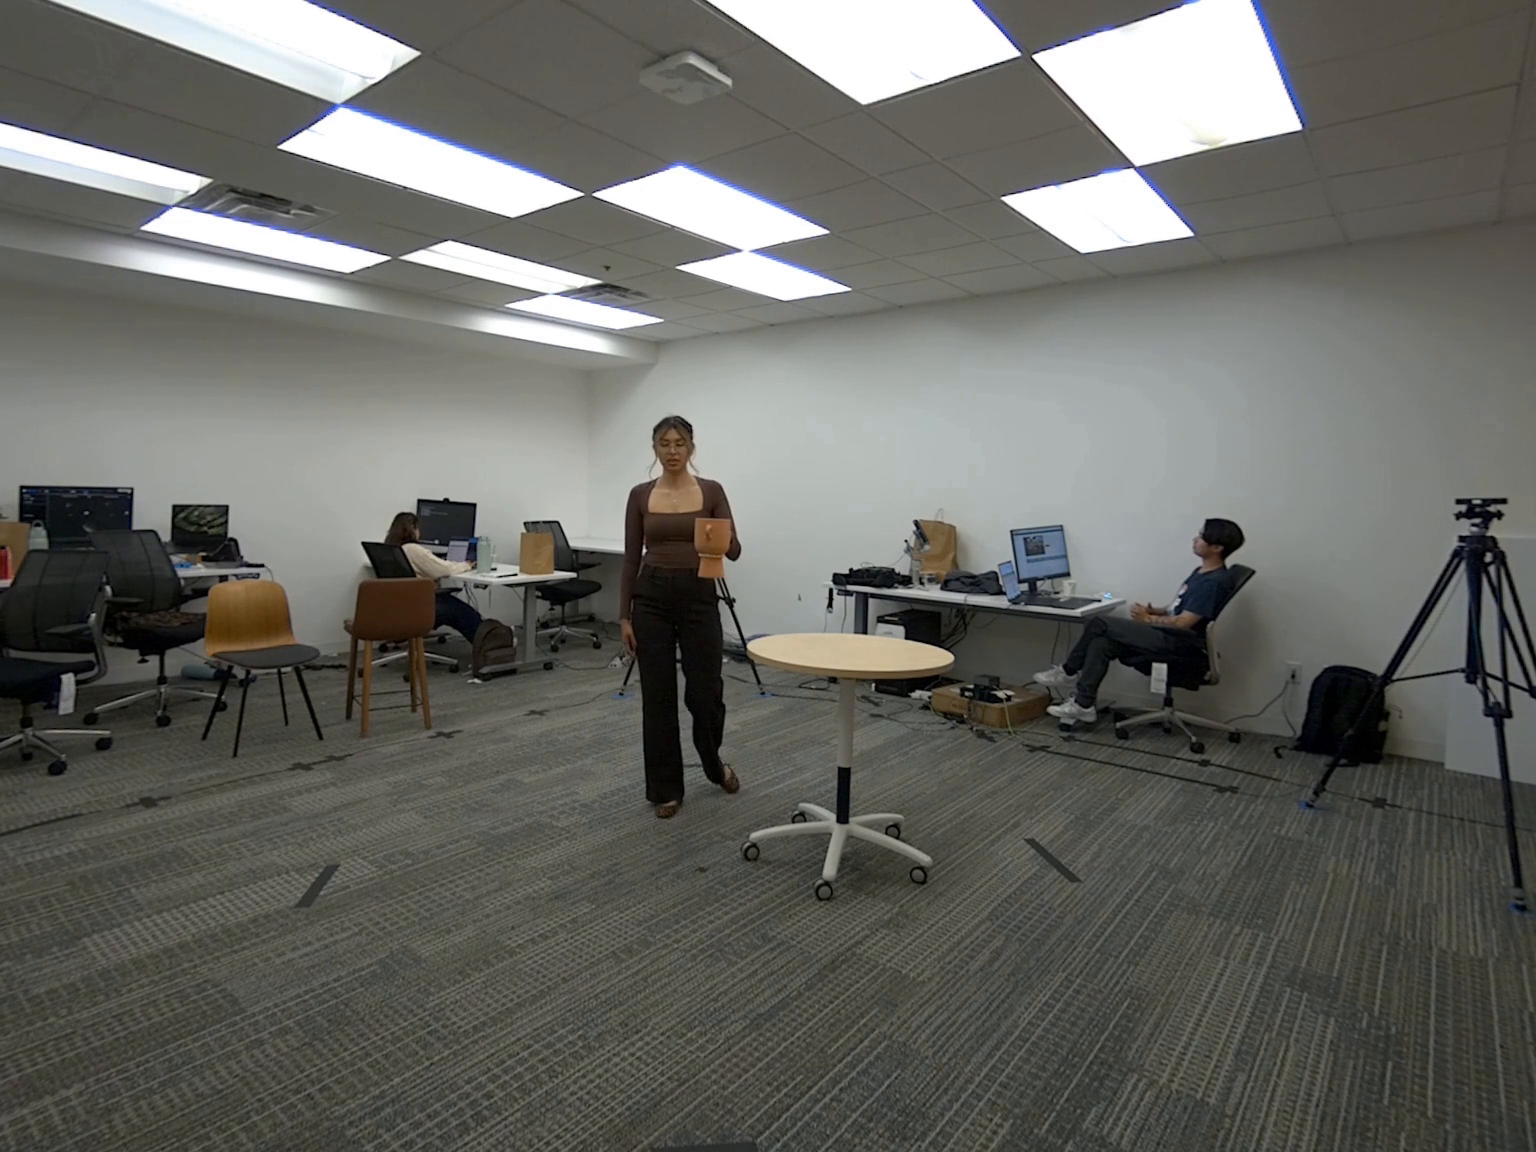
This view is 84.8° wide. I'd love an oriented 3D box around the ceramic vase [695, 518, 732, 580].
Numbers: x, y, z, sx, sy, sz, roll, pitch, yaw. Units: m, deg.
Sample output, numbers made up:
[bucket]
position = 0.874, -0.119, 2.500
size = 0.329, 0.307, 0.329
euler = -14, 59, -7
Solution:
[ceramic vase]
position = -0.222, -0.109, 3.220
size = 0.154, 0.219, 0.139
euler = 1, 2, -44
